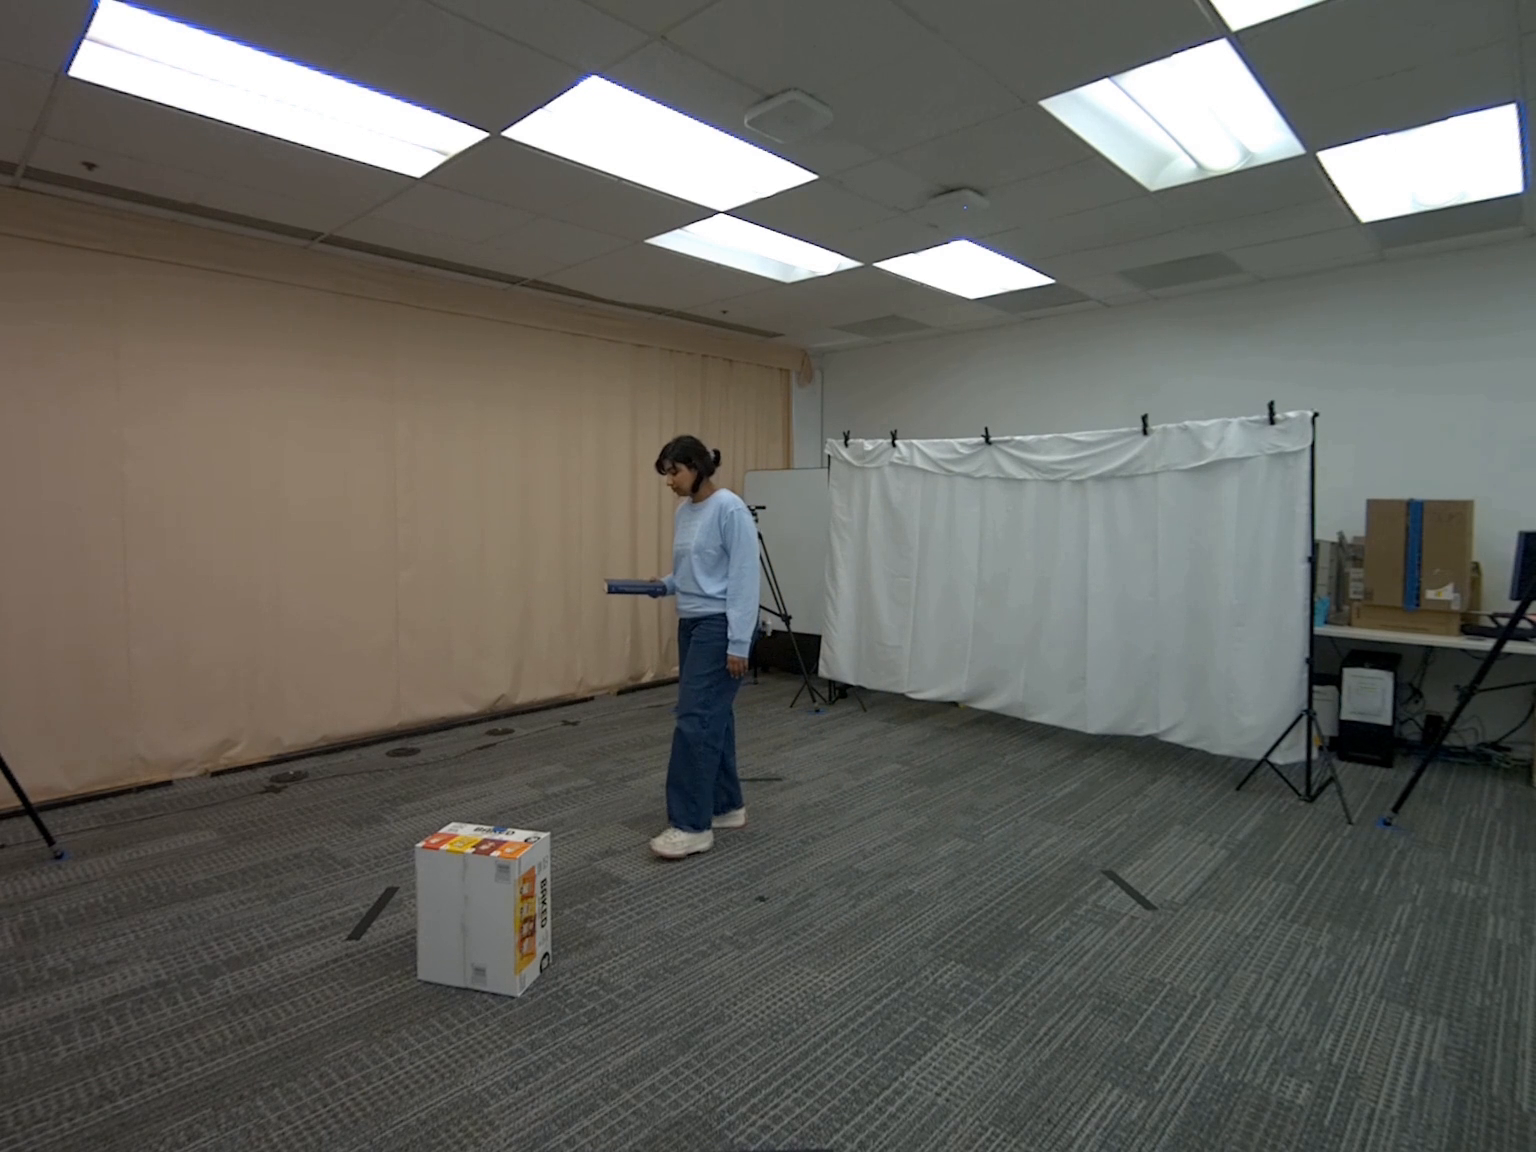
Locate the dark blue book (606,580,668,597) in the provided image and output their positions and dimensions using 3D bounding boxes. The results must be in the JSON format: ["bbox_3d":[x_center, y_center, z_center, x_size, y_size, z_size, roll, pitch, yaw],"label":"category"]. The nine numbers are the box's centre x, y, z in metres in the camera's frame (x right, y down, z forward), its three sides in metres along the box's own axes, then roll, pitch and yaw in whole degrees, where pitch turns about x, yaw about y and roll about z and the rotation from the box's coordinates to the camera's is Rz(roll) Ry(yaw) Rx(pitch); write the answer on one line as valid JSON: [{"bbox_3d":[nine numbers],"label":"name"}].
[{"bbox_3d":[-0.547,0.049,3.522,0.243,0.045,0.165,2,3,-9],"label":"dark blue book"}]
